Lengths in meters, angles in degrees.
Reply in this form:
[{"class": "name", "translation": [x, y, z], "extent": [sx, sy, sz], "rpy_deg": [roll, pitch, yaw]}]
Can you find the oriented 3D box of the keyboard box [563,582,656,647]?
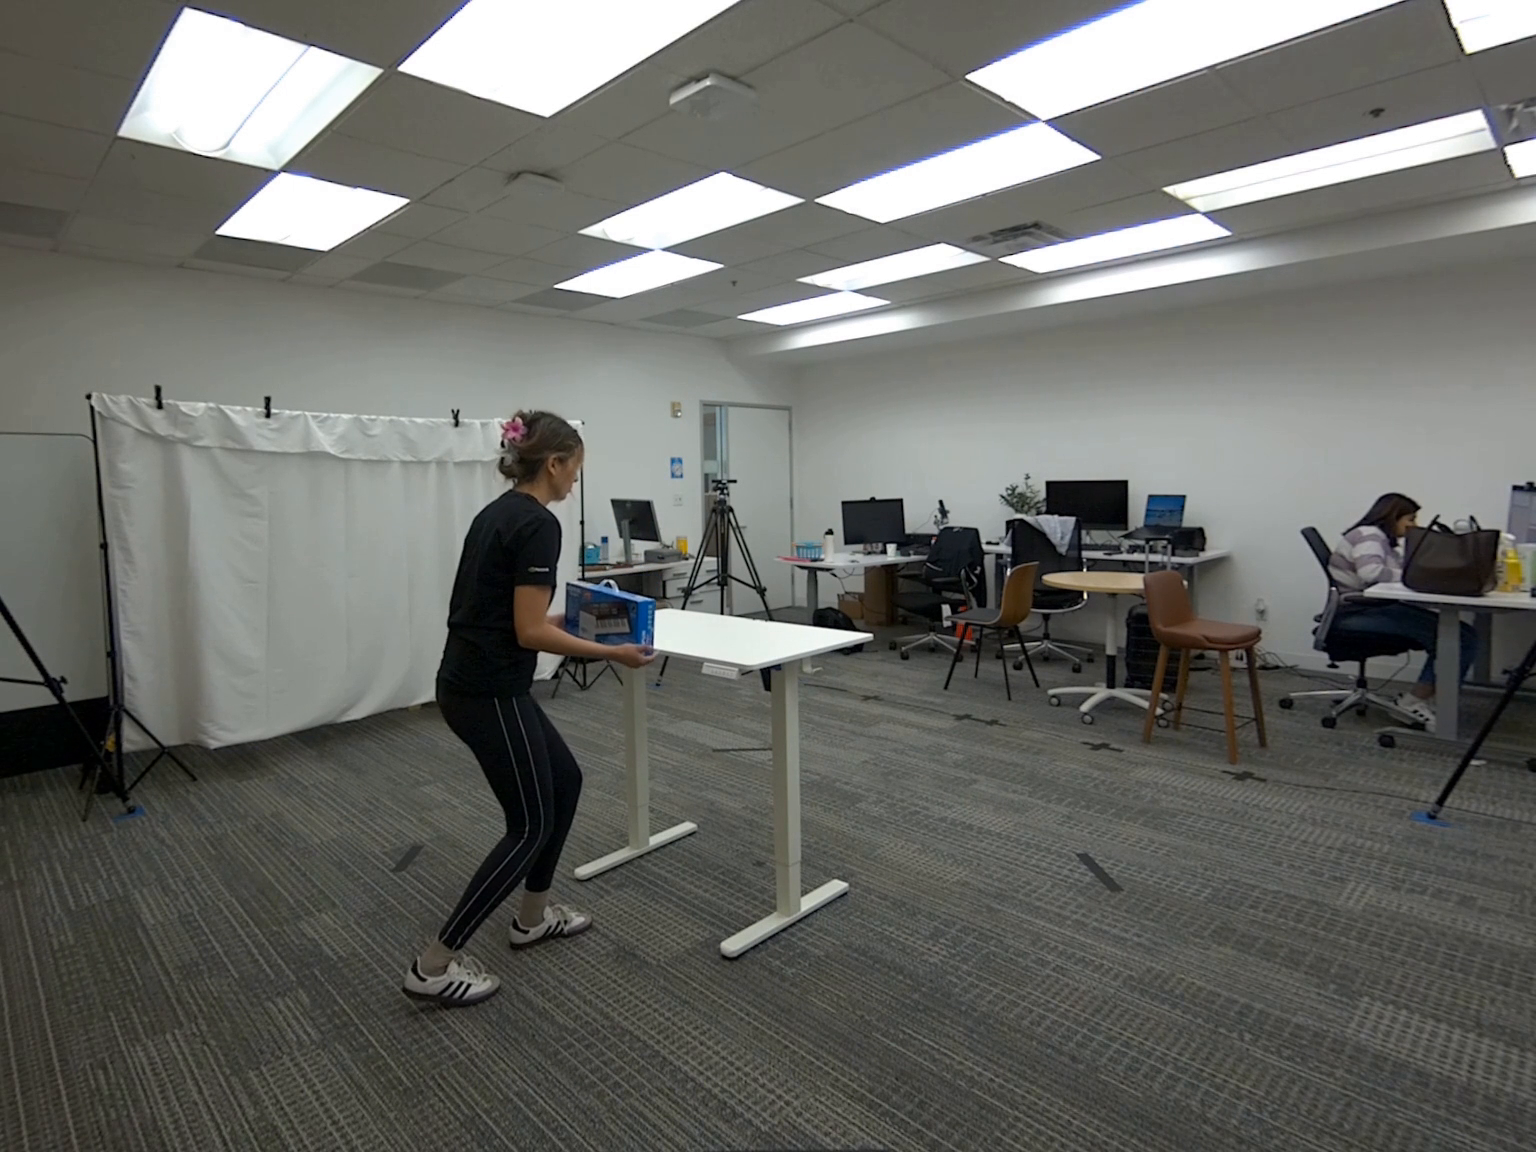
[{"class": "keyboard box", "translation": [-0.496, 0.136, 2.637], "extent": [0.057, 0.175, 0.451], "rpy_deg": [-2, 8, -40]}]
